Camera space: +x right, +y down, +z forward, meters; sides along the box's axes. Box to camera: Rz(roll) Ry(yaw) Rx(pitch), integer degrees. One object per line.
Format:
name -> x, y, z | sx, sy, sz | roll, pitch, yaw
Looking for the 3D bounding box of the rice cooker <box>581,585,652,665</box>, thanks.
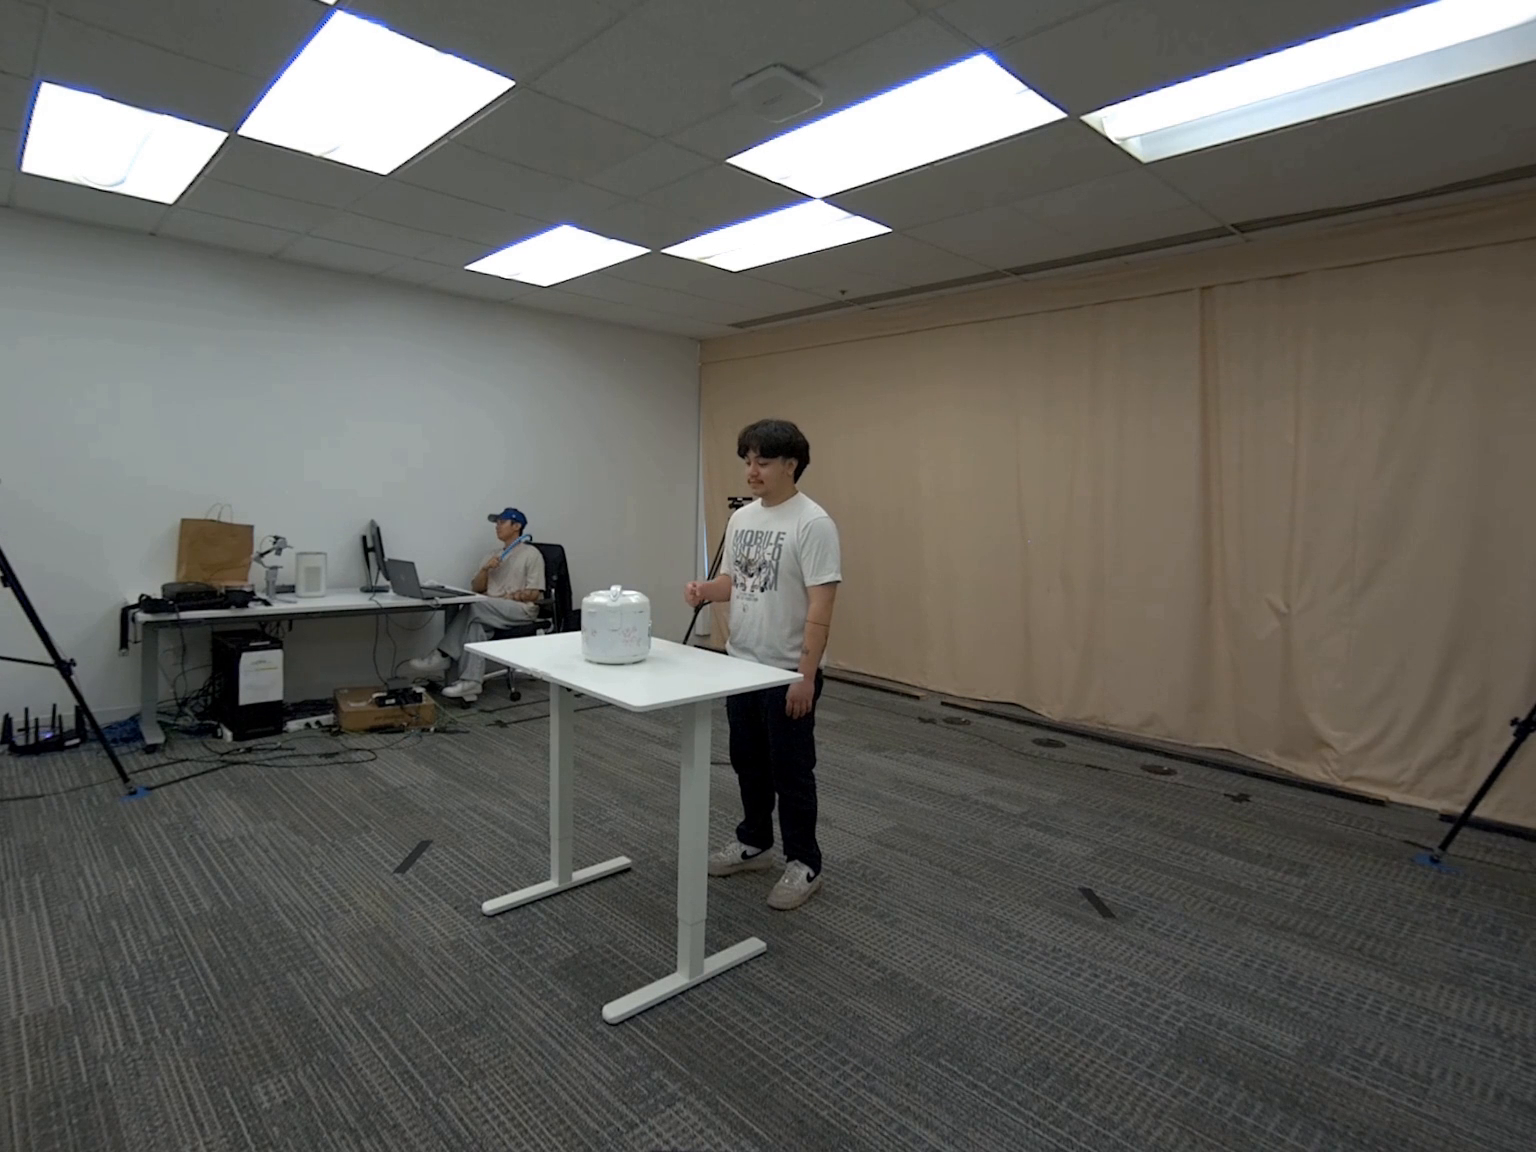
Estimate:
rice cooker -> -0.481, 0.147, 2.609 | 0.217, 0.232, 0.222 | 0, 6, -3
